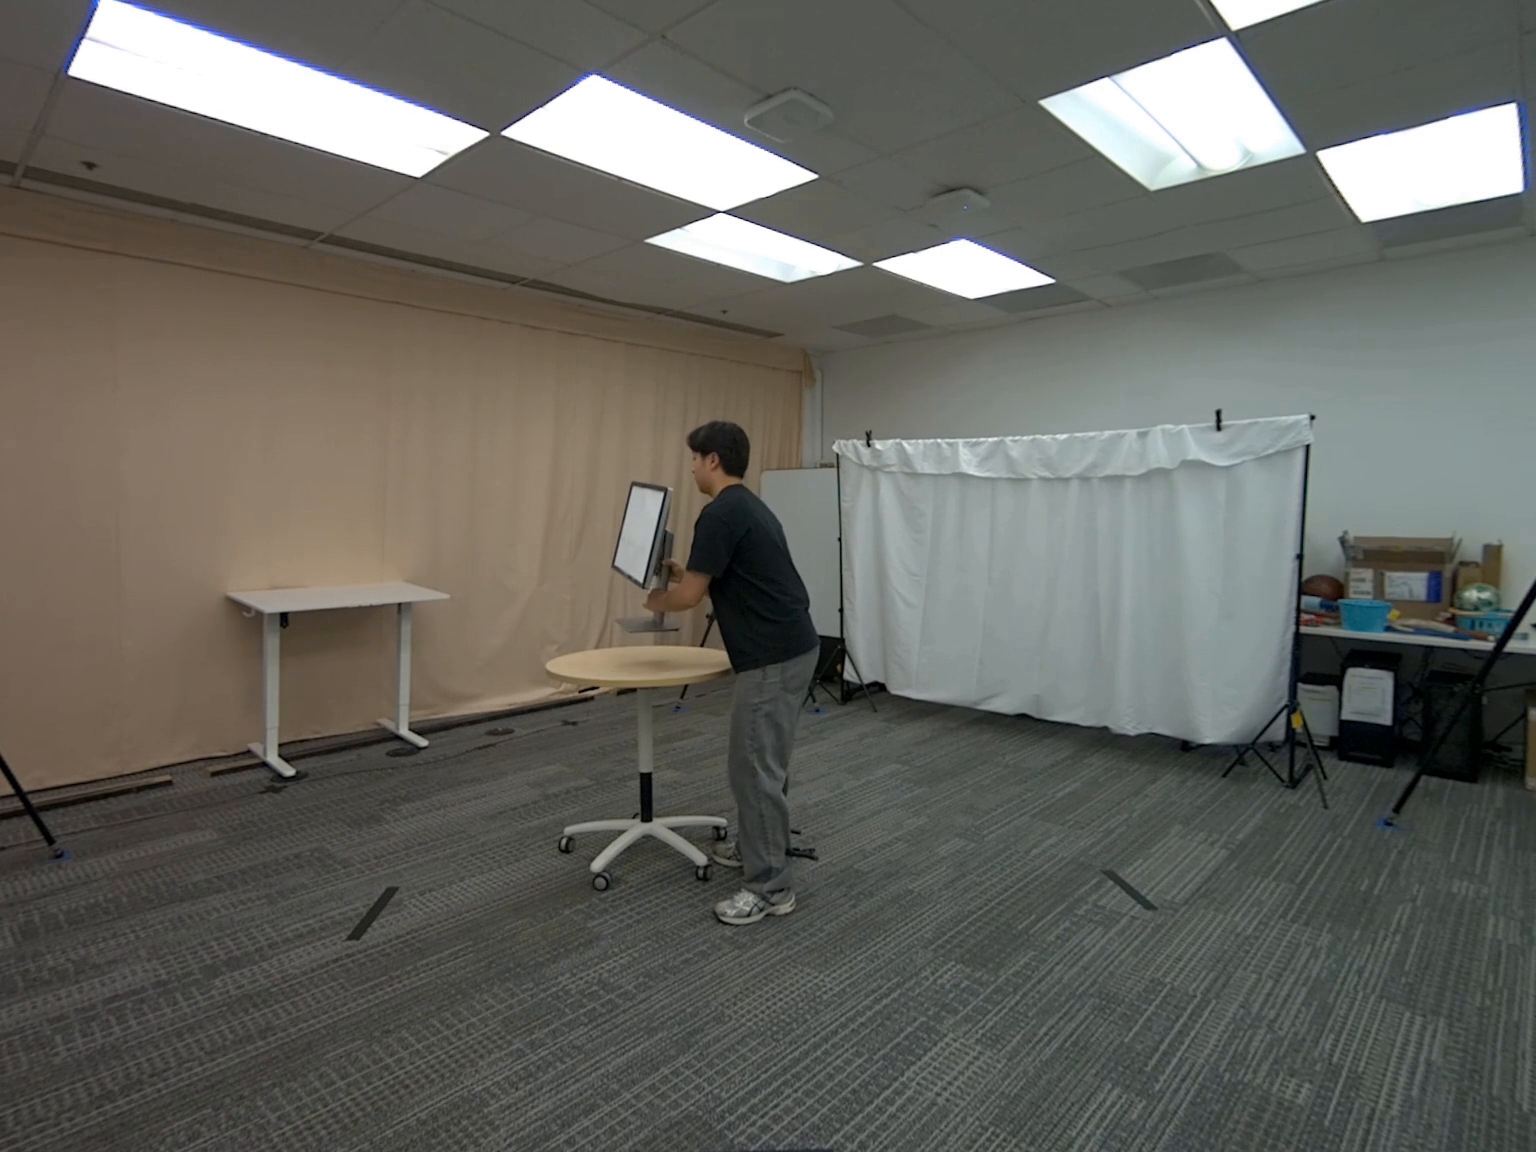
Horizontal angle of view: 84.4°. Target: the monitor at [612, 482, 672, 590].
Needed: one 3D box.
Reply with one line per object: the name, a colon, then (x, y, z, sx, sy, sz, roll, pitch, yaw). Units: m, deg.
monitor: (-0.455, -0.064, 3.195, 0.218, 0.563, 0.574, -3, 8, -17)
